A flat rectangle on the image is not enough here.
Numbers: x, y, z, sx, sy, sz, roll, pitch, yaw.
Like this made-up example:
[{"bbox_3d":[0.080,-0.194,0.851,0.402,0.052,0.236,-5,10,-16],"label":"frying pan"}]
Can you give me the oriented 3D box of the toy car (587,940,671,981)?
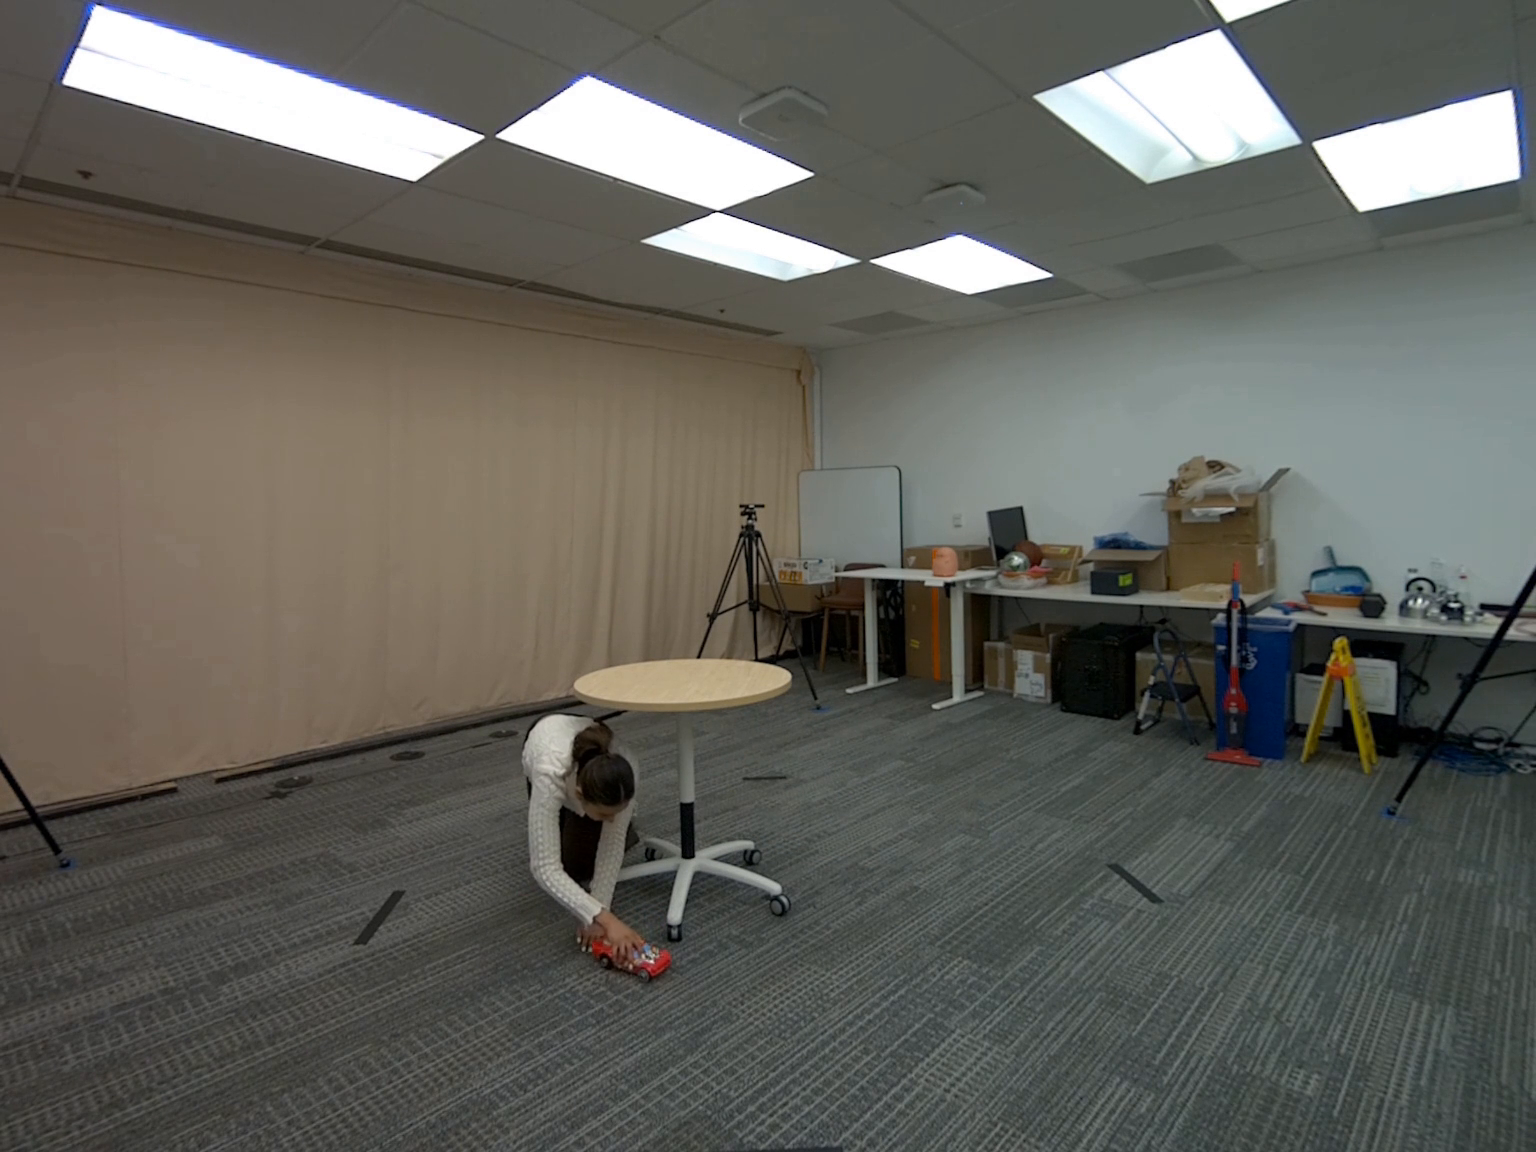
[{"bbox_3d":[-0.419,1.147,2.572,0.262,0.083,0.127,11,12,31],"label":"toy car"}]
